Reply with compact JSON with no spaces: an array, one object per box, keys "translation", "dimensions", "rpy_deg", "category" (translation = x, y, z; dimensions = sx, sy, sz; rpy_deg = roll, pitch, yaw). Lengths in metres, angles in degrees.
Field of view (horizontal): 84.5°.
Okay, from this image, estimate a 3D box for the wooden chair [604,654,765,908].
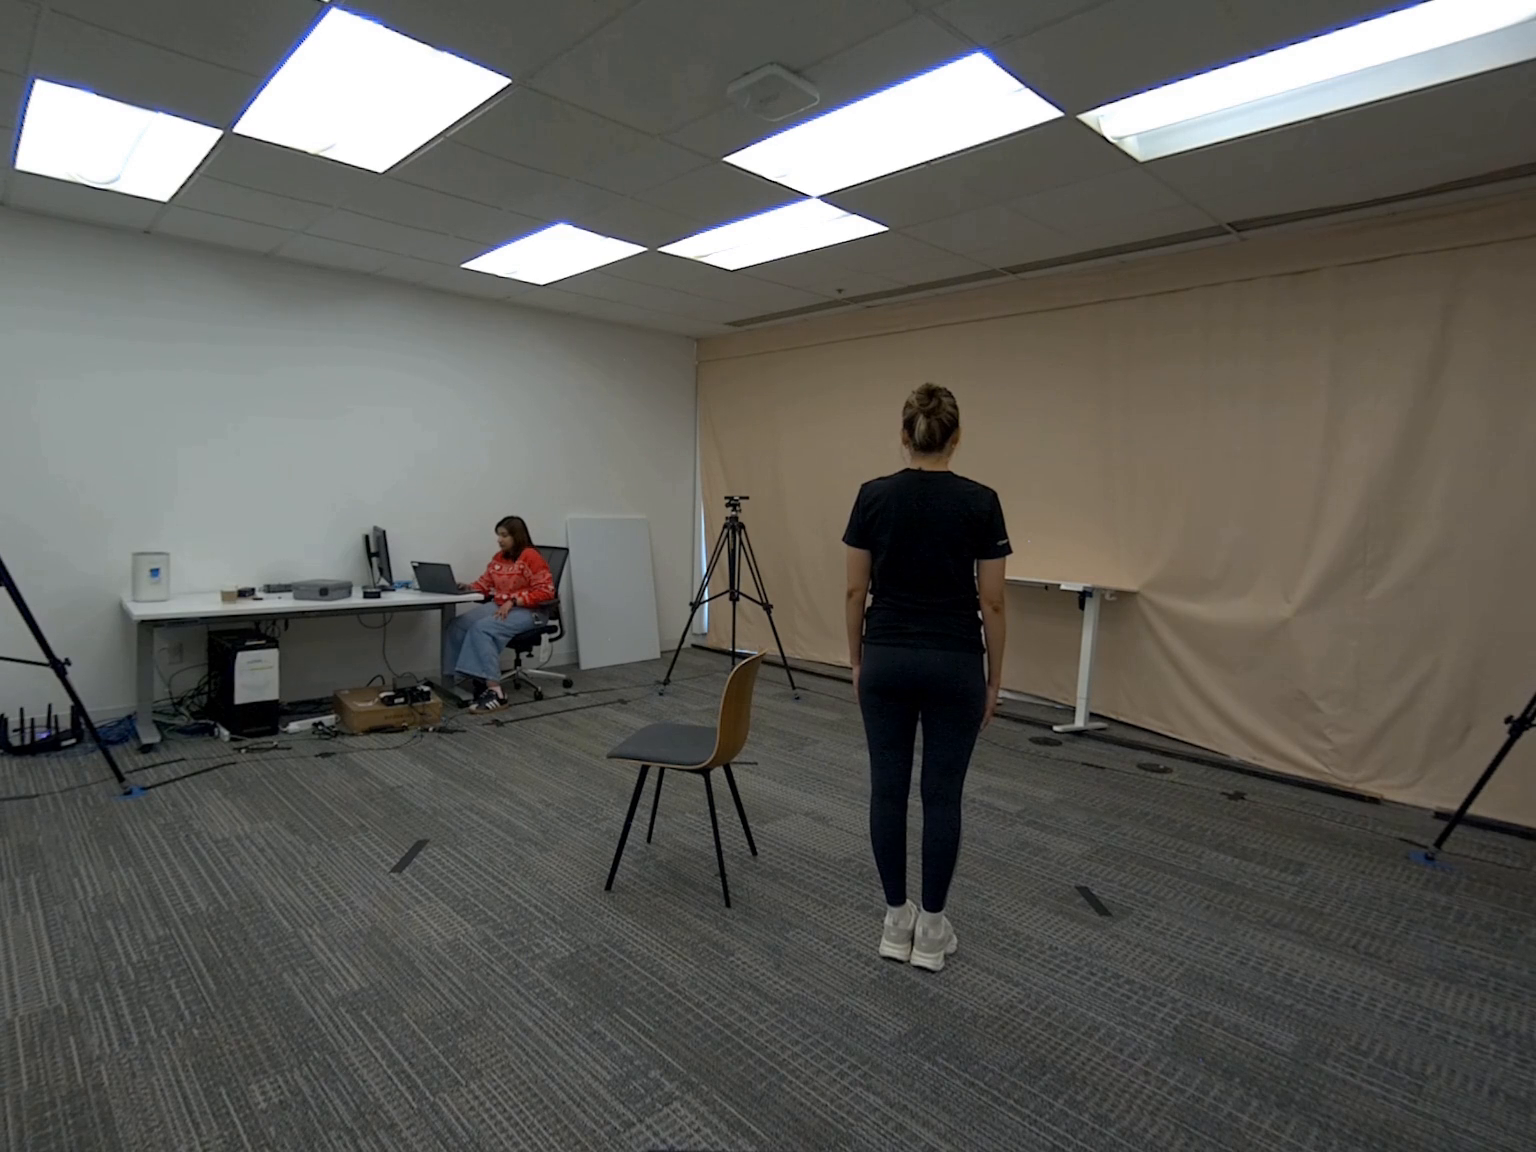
[{"translation":[-0.311,0.673,3.088],"dimensions":[0.529,0.875,0.474],"rpy_deg":[6,5,13],"category":"wooden chair"}]
